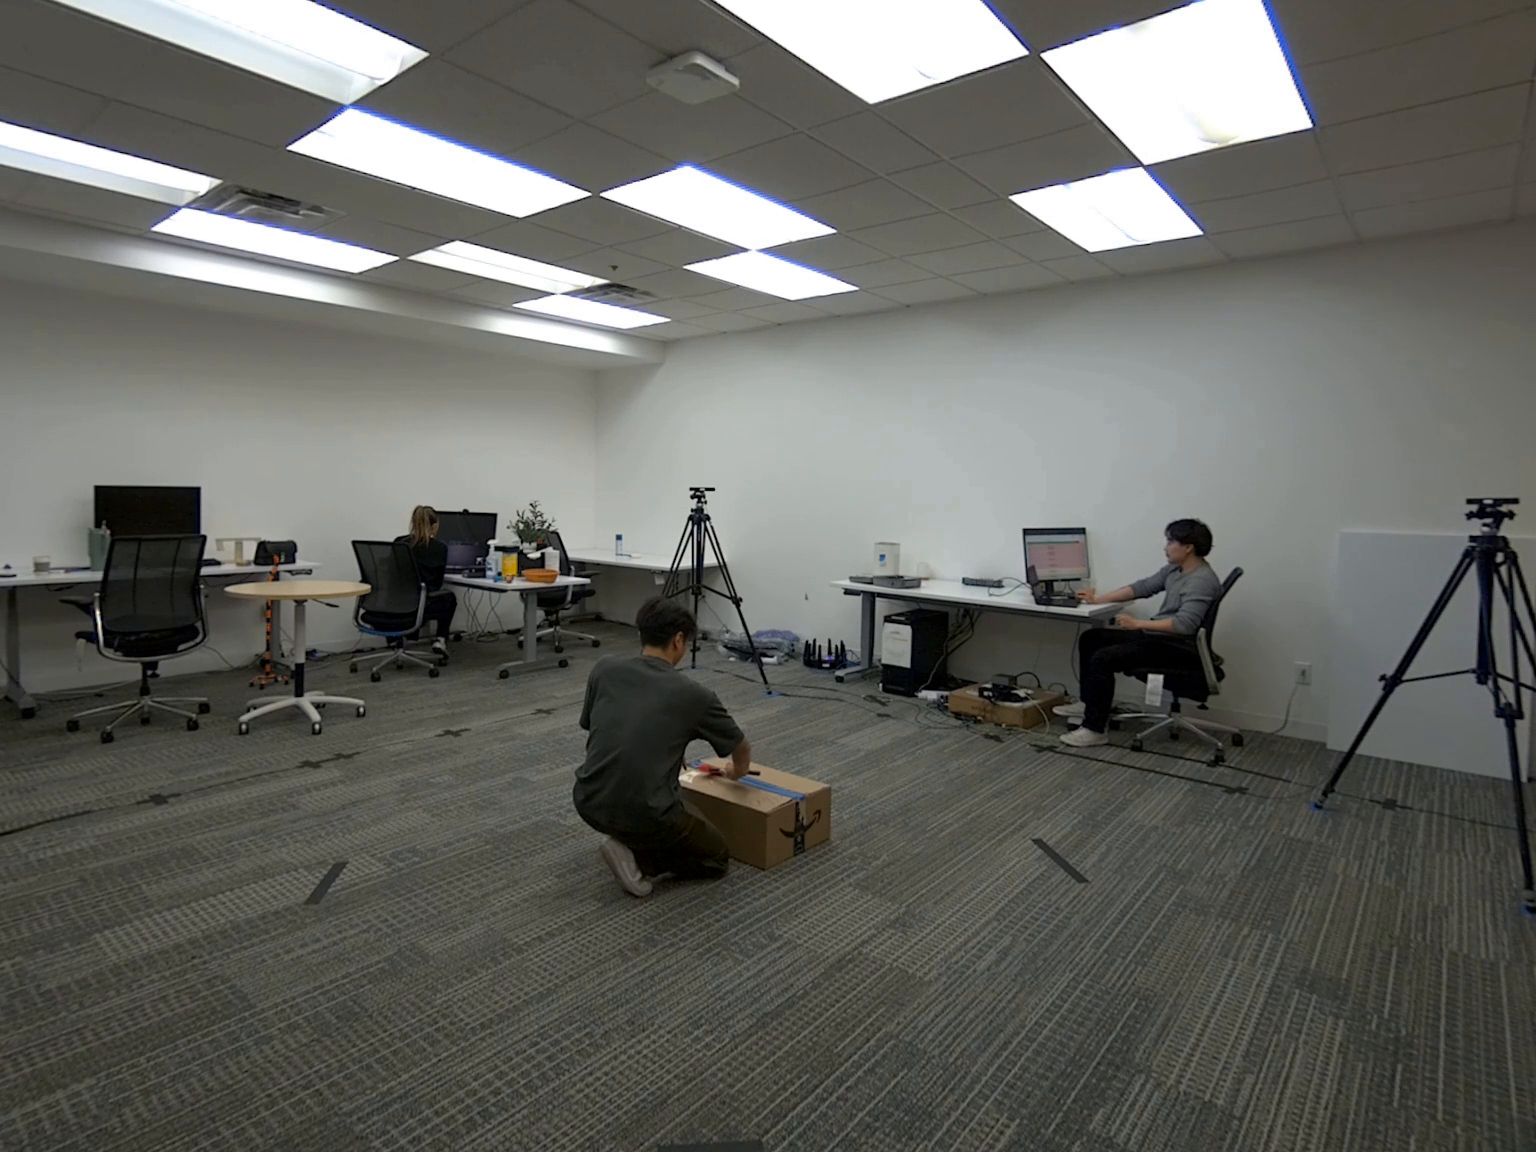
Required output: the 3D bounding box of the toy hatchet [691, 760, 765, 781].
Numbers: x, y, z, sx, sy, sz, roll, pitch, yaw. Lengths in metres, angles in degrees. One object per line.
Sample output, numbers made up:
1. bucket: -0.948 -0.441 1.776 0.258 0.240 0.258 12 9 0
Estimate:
1. toy hatchet: -0.164 0.788 3.420 0.276 0.030 0.126 4 -17 21
